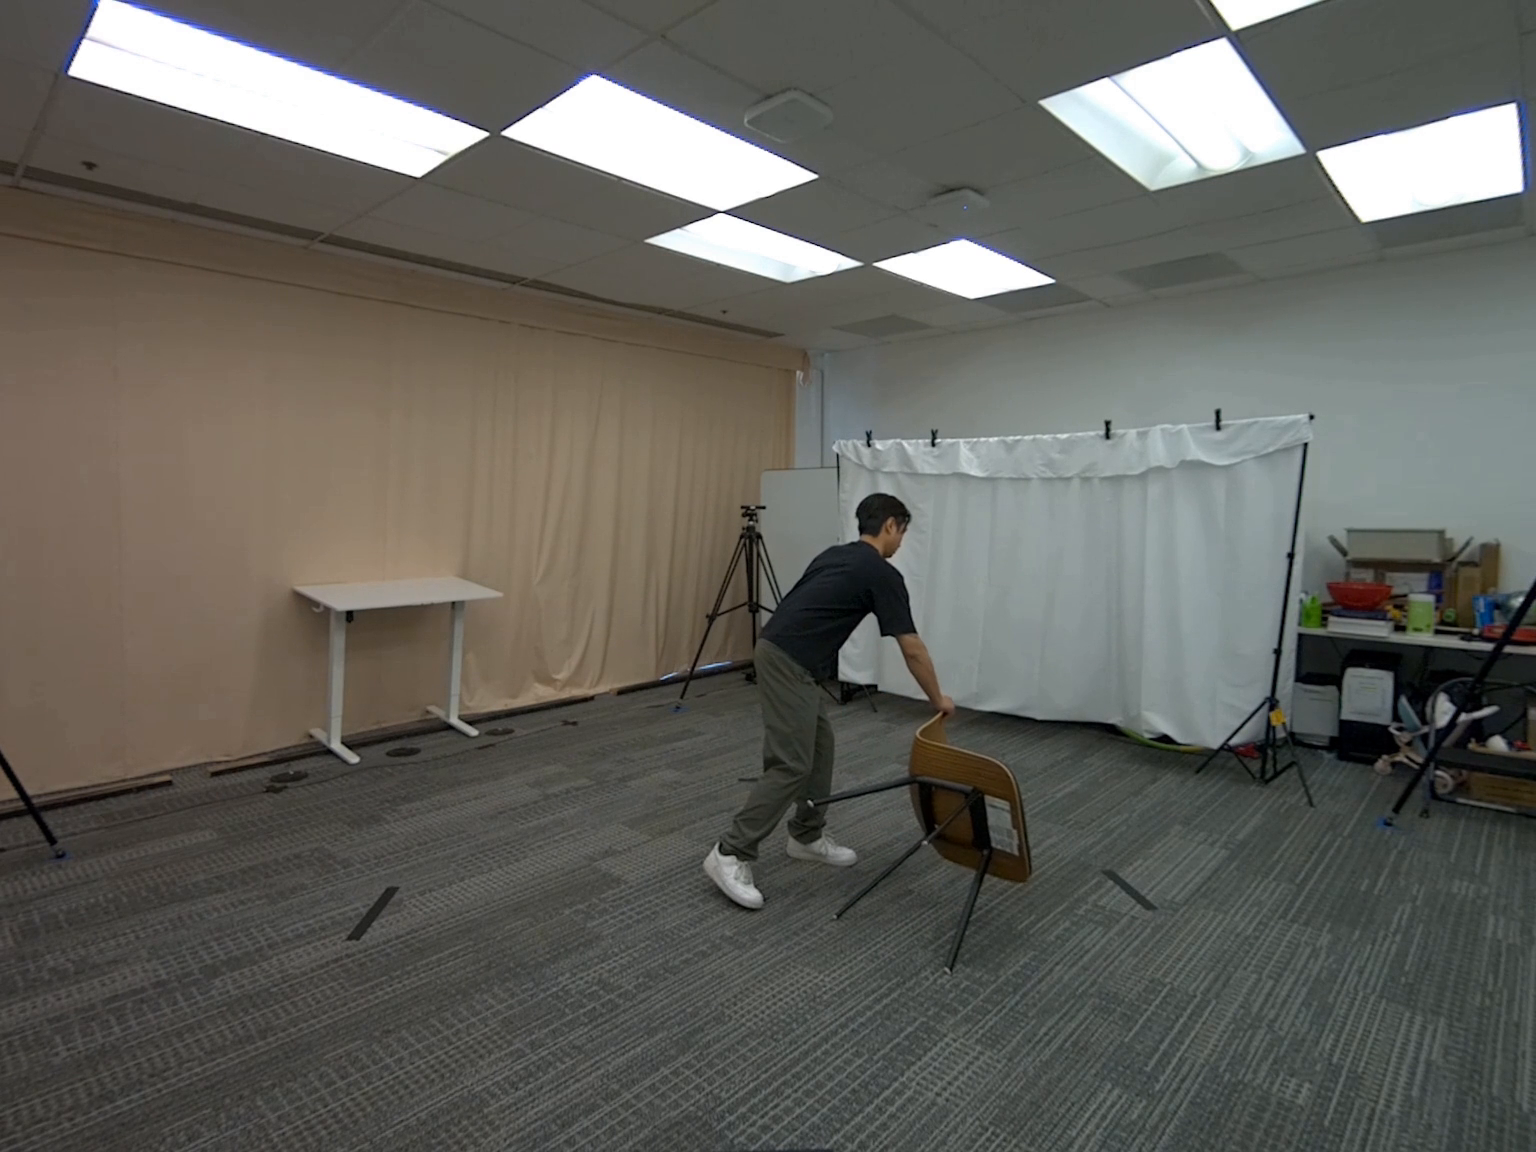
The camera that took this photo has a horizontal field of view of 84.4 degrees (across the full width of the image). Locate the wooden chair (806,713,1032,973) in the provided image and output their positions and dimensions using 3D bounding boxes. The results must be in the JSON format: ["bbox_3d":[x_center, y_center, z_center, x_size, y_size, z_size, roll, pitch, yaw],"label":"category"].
[{"bbox_3d":[0.633,0.817,2.871,0.540,0.472,0.859,2,20,42],"label":"wooden chair"}]
